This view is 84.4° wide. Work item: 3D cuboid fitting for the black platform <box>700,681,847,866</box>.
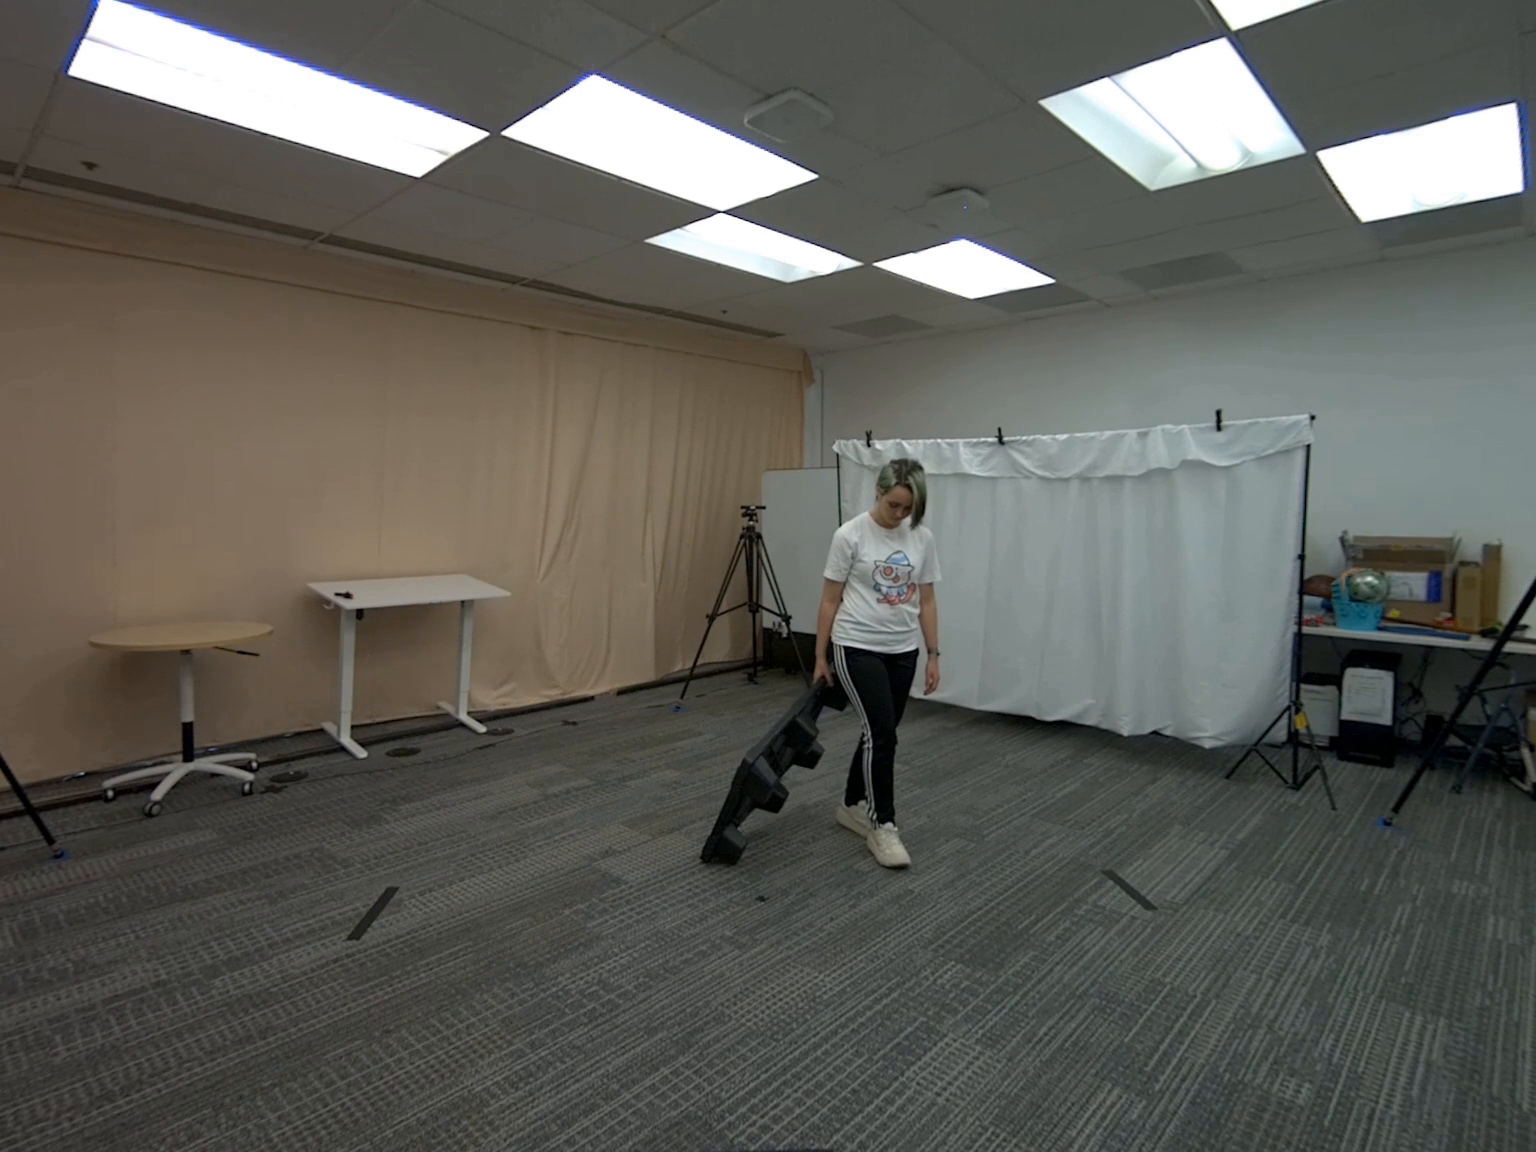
[{"bbox_3d":[0.060,0.767,3.415,0.146,0.601,0.793,31,34,16],"label":"black platform"}]
